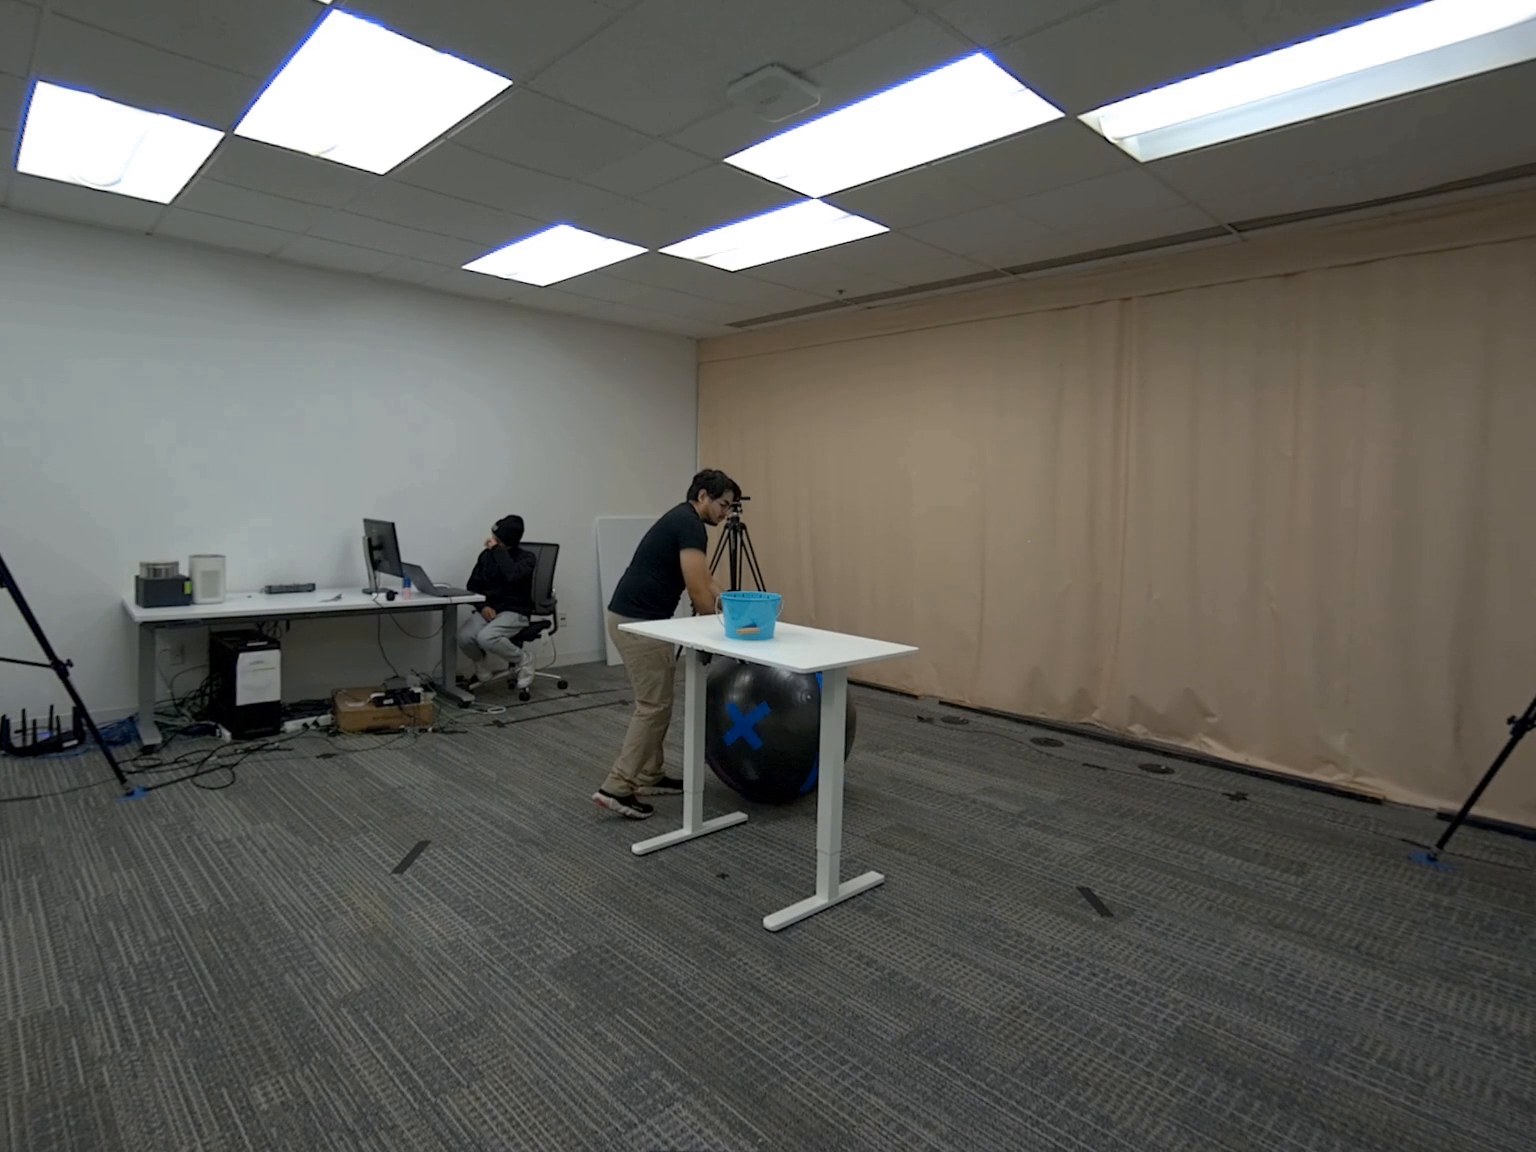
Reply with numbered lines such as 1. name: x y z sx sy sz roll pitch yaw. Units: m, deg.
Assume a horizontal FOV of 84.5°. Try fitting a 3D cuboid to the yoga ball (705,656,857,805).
1. yoga ball: 0.032 0.671 3.975 0.757 0.756 0.761 1 4 -1
